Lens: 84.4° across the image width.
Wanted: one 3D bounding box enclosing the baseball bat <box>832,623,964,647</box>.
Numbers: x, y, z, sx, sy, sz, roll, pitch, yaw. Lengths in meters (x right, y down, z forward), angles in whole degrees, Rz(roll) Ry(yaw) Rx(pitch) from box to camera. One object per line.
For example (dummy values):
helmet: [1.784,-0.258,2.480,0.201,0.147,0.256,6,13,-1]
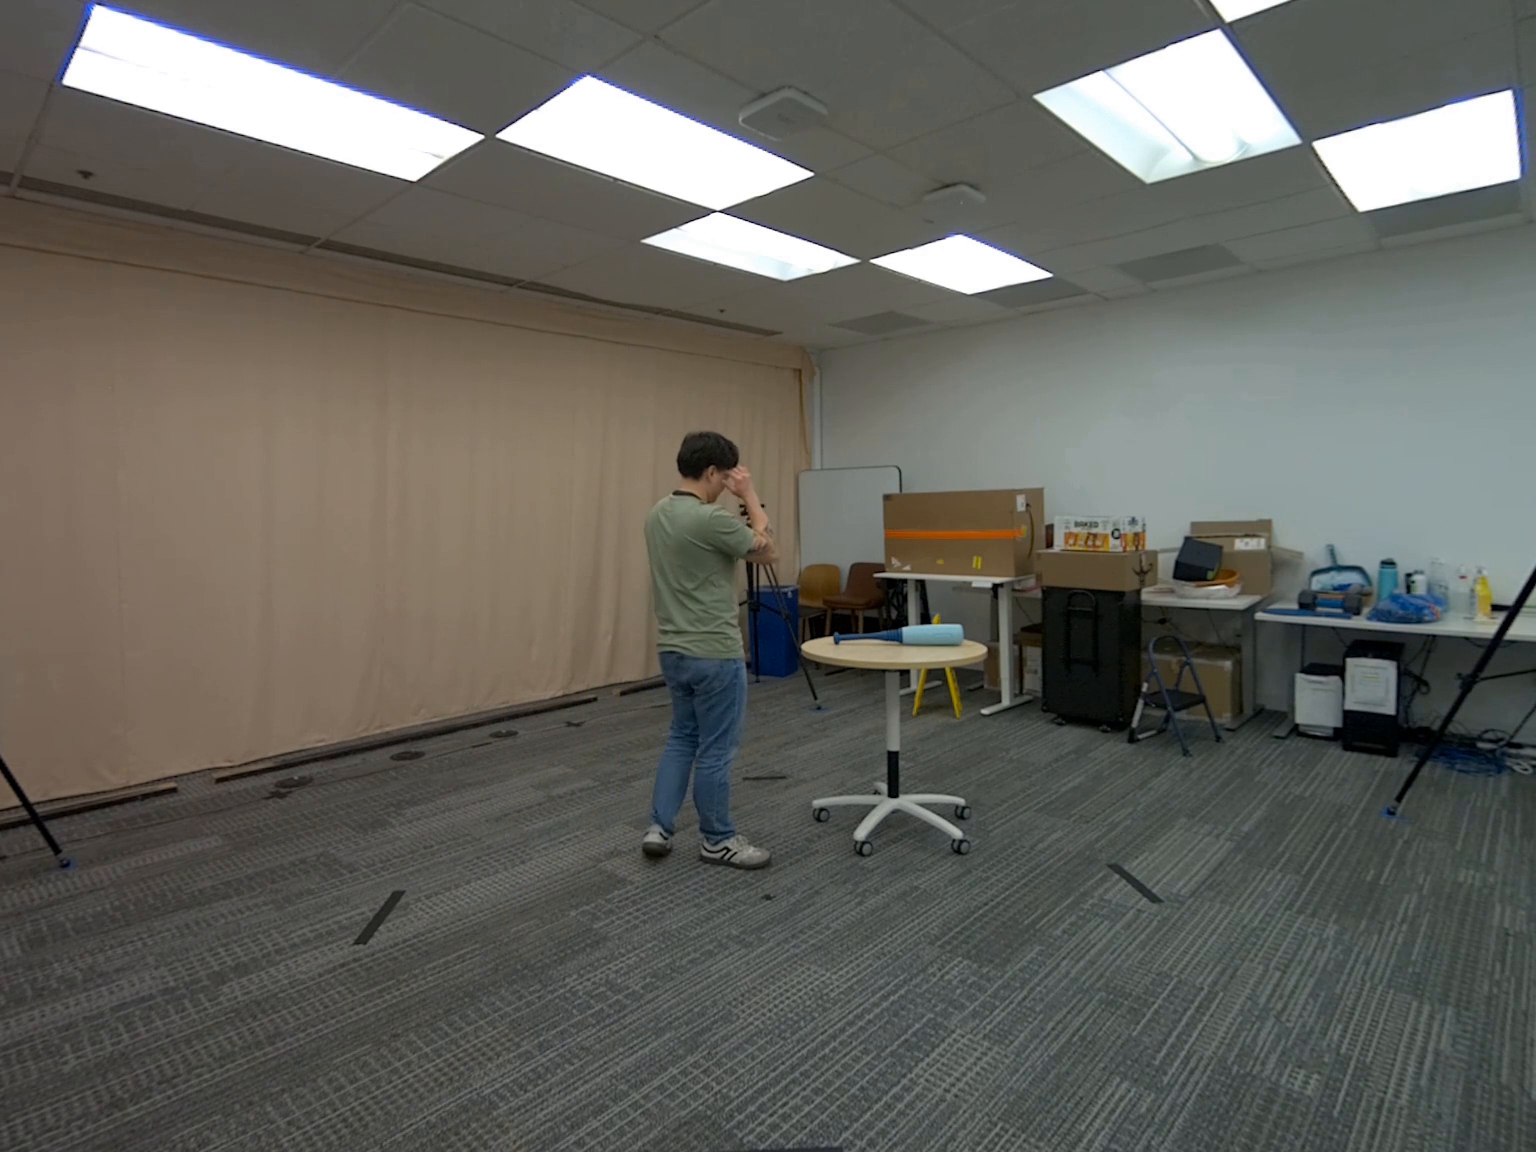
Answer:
baseball bat: [0.554,0.258,3.589,0.549,0.089,0.088,-3,4,11]
